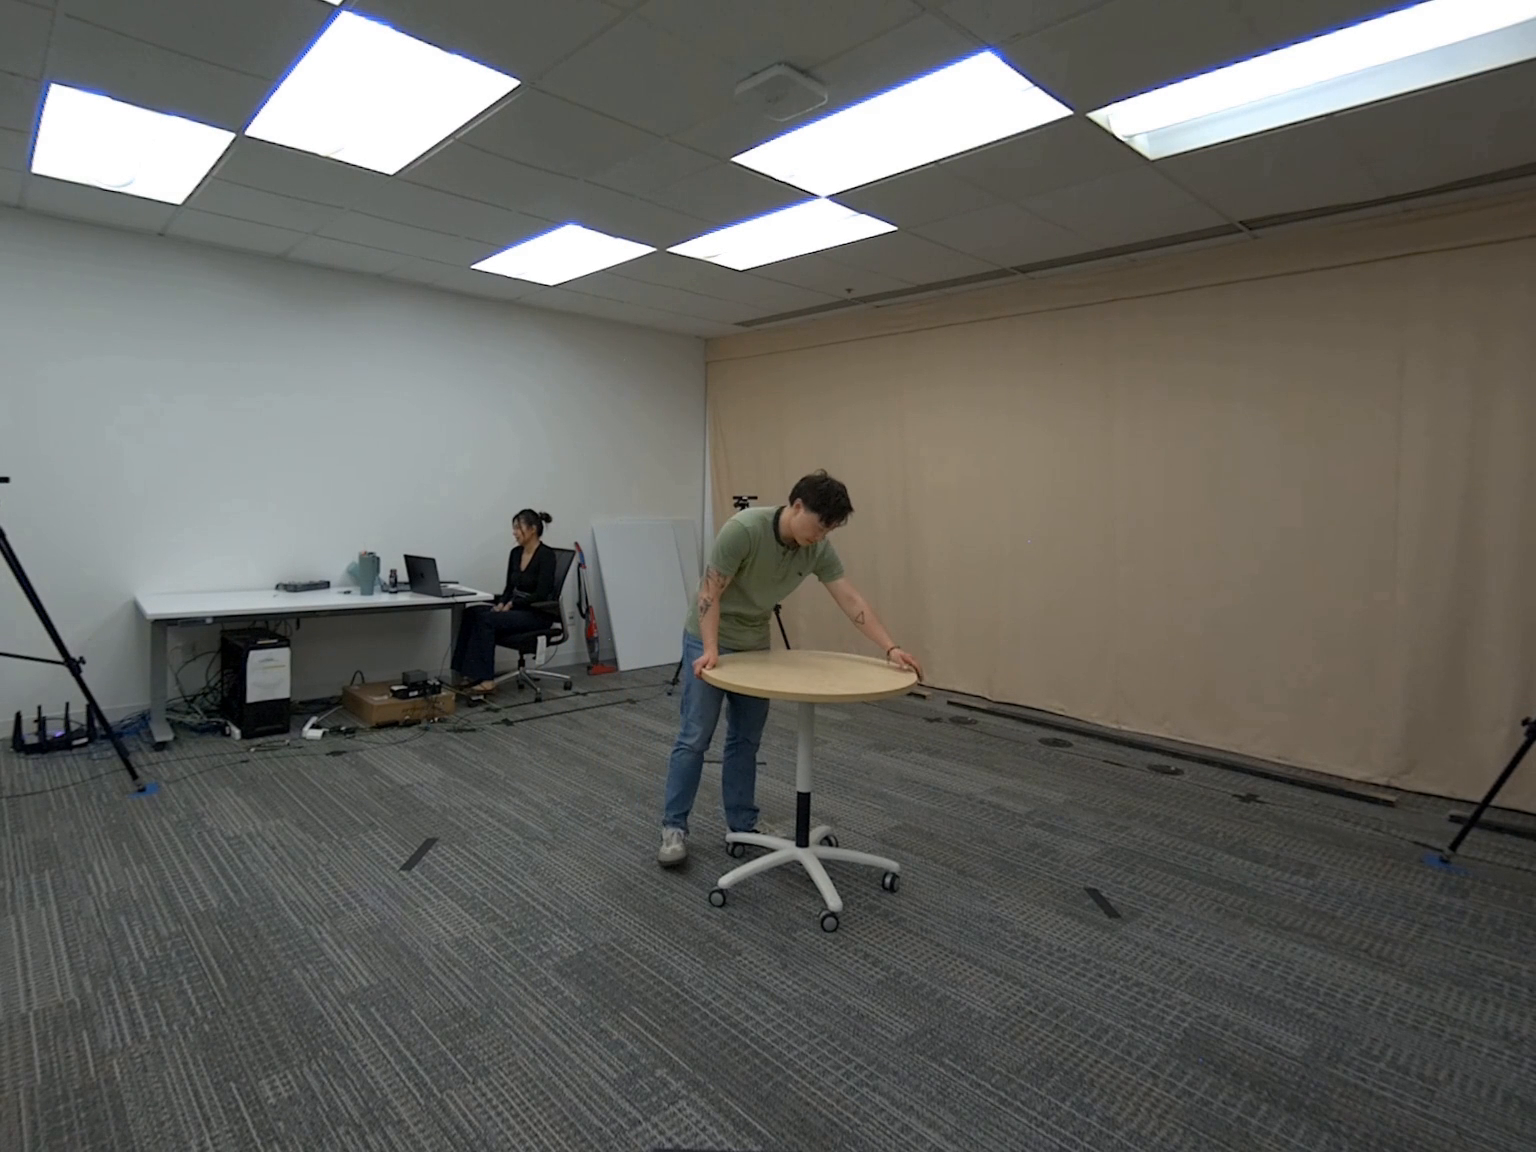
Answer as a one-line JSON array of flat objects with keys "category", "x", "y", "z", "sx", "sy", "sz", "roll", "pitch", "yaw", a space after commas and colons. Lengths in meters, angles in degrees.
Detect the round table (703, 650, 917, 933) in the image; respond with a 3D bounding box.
[{"category": "round table", "x": 0.121, "y": 0.727, "z": 3.020, "sx": 0.763, "sy": 0.792, "sz": 0.767, "roll": 1, "pitch": 4, "yaw": -1}]
